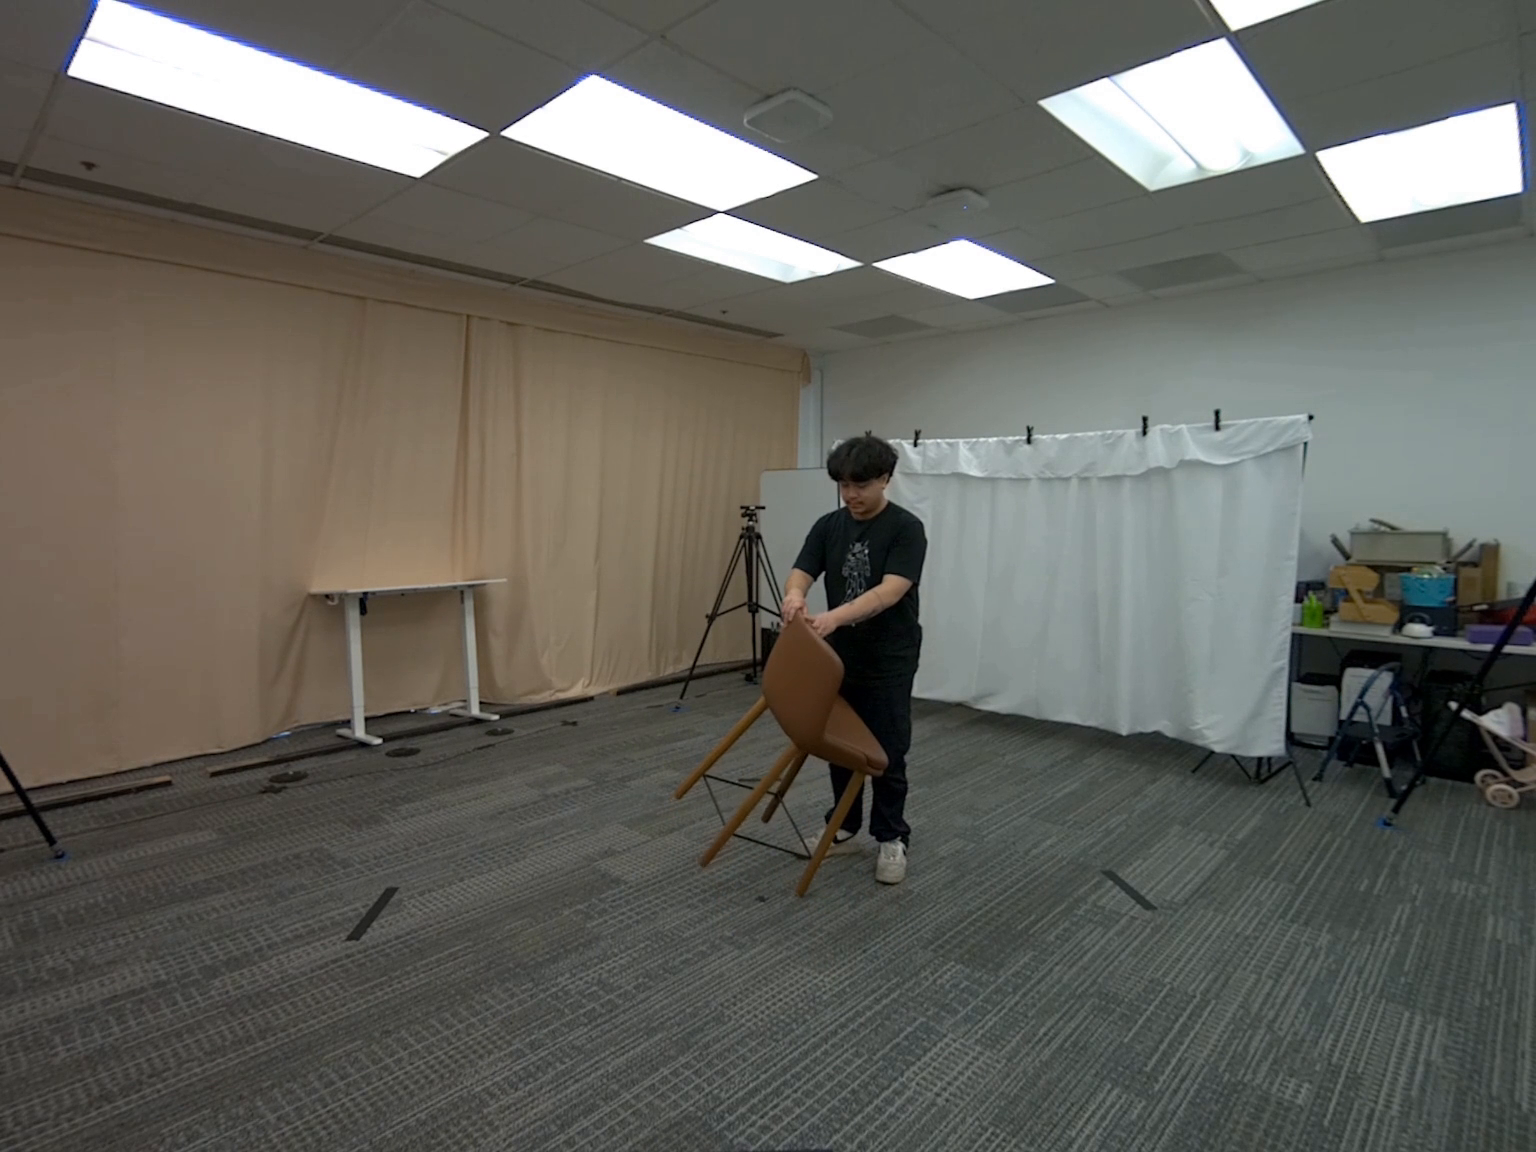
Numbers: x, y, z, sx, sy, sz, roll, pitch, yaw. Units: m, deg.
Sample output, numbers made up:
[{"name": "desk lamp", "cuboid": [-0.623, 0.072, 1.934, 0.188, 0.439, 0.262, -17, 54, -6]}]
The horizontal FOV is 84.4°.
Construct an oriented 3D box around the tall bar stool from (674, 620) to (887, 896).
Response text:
[{"name": "tall bar stool", "cuboid": [0.107, 0.618, 2.980, 0.454, 0.889, 0.470, 23, 15, -28]}]
